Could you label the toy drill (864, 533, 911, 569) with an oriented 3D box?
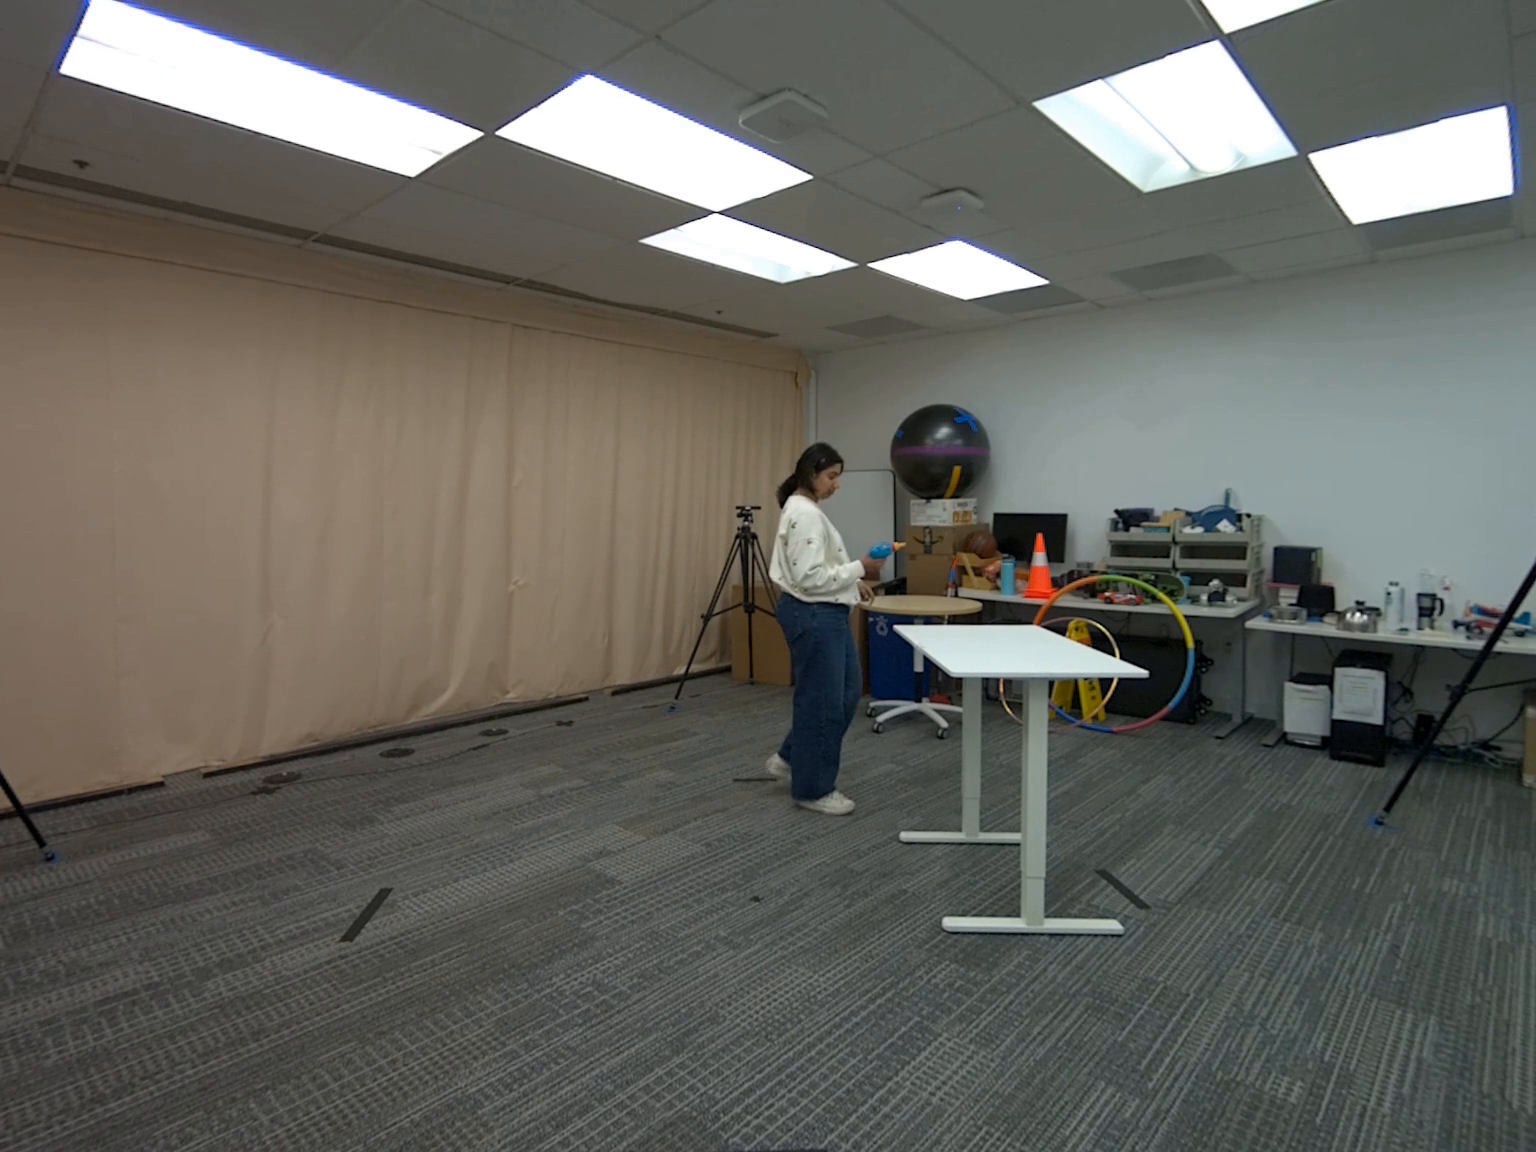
[{"bbox_3d":[0.511,-0.100,3.667,0.169,0.062,0.143,-17,-27,-7],"label":"toy drill"}]
